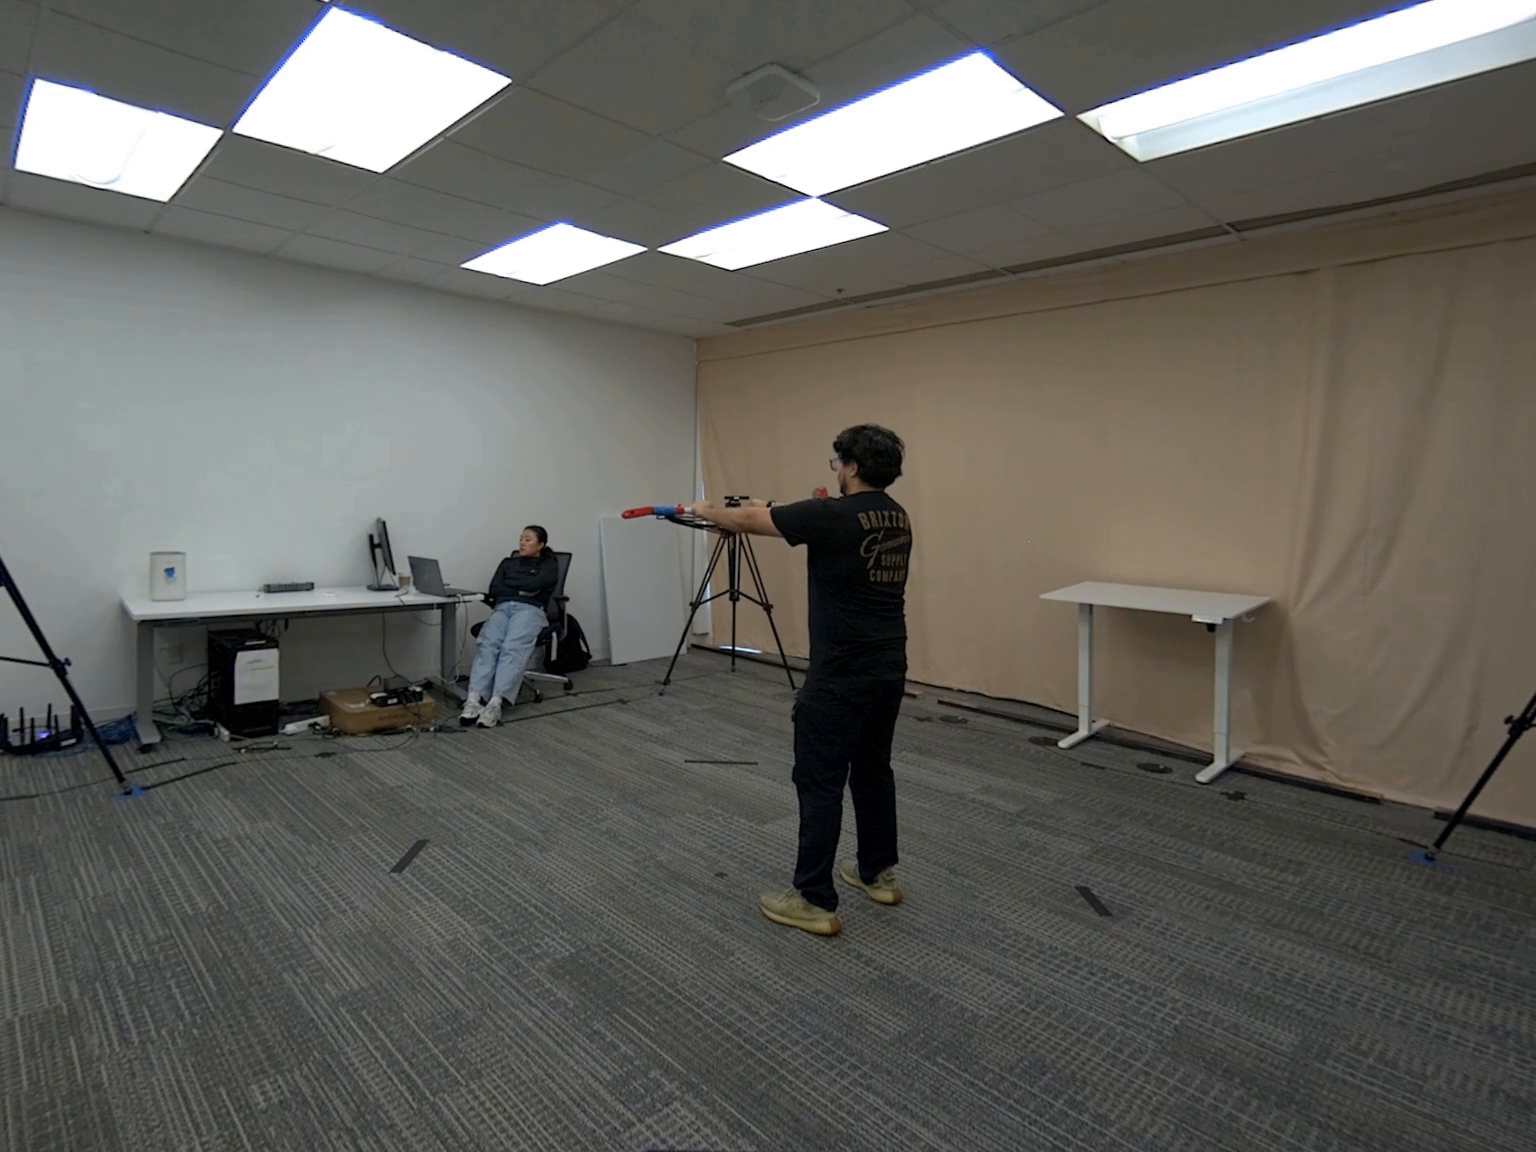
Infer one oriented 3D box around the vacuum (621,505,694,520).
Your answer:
[{"bbox_3d":[-0.129,-0.229,3.283,1.026,0.257,0.145,-4,-25,-49],"label":"vacuum"}]
